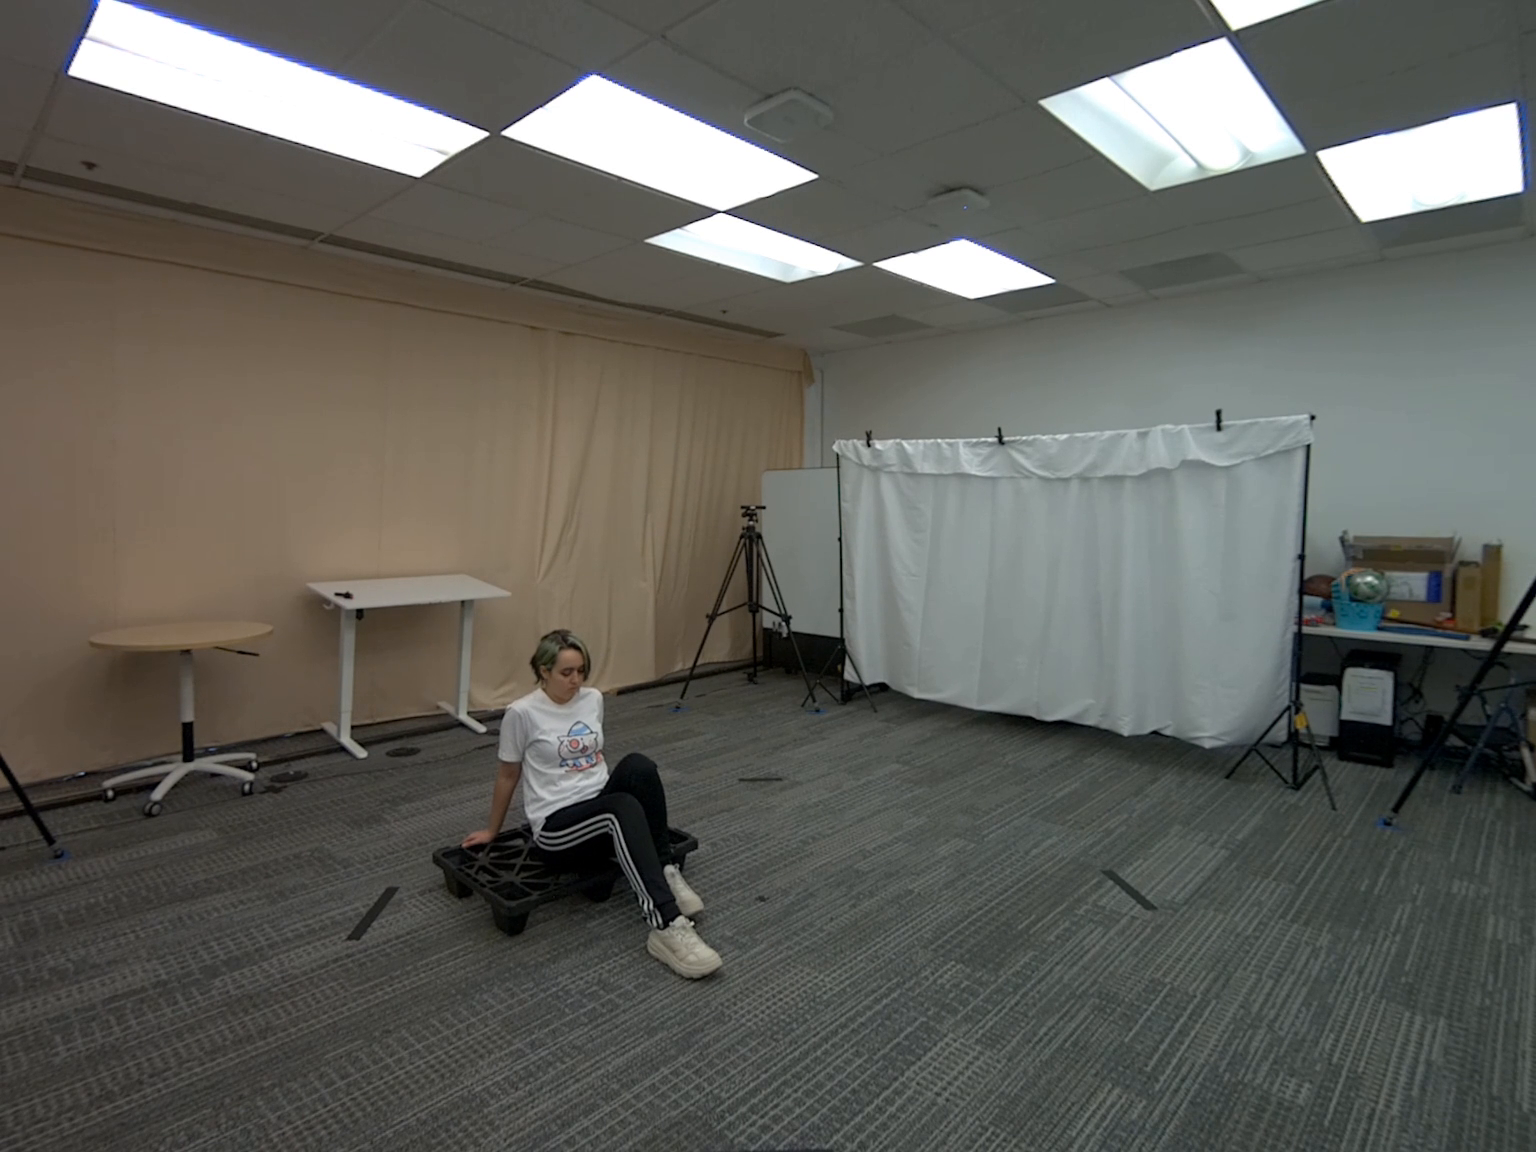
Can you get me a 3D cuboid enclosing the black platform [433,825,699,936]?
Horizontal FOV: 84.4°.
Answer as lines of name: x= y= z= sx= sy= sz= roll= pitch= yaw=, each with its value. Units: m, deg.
black platform: x=-0.742 y=1.068 z=3.144 sx=0.781 sy=0.143 sz=0.625 roll=-6 pitch=8 yaw=-43
